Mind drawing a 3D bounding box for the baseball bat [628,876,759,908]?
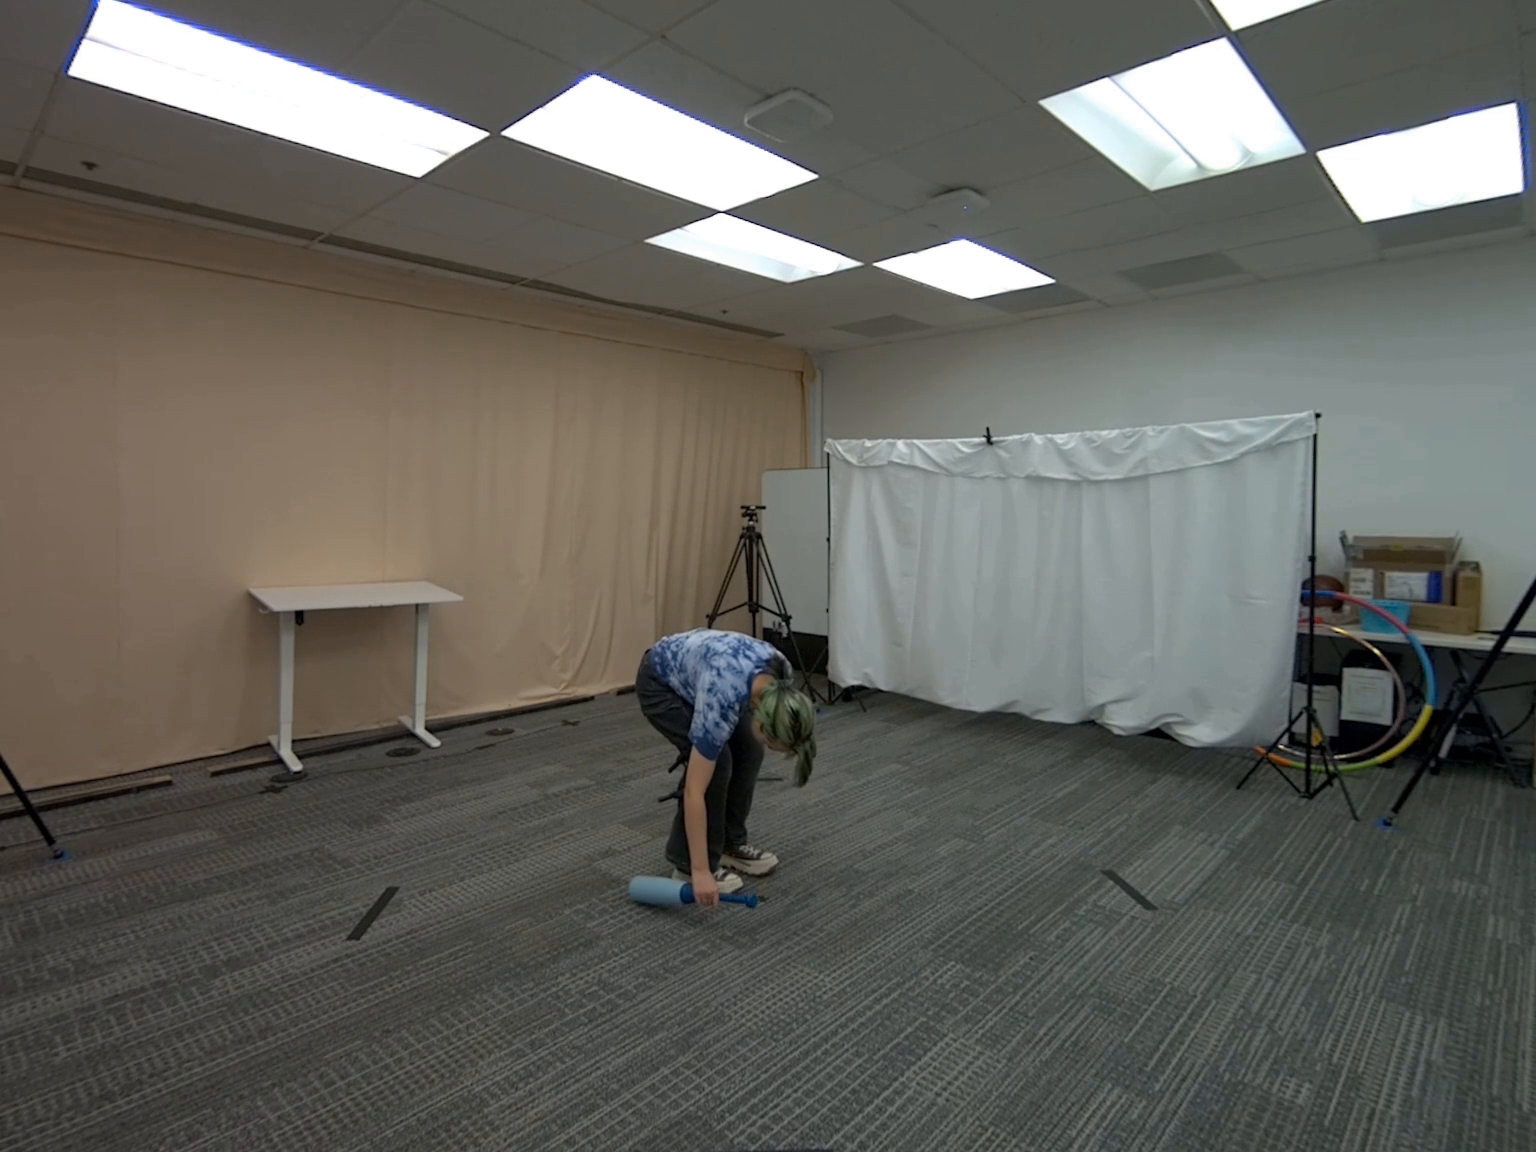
[{"bbox_3d":[-0.261,1.065,2.824,0.558,0.089,0.086,-9,-3,40],"label":"baseball bat"}]
